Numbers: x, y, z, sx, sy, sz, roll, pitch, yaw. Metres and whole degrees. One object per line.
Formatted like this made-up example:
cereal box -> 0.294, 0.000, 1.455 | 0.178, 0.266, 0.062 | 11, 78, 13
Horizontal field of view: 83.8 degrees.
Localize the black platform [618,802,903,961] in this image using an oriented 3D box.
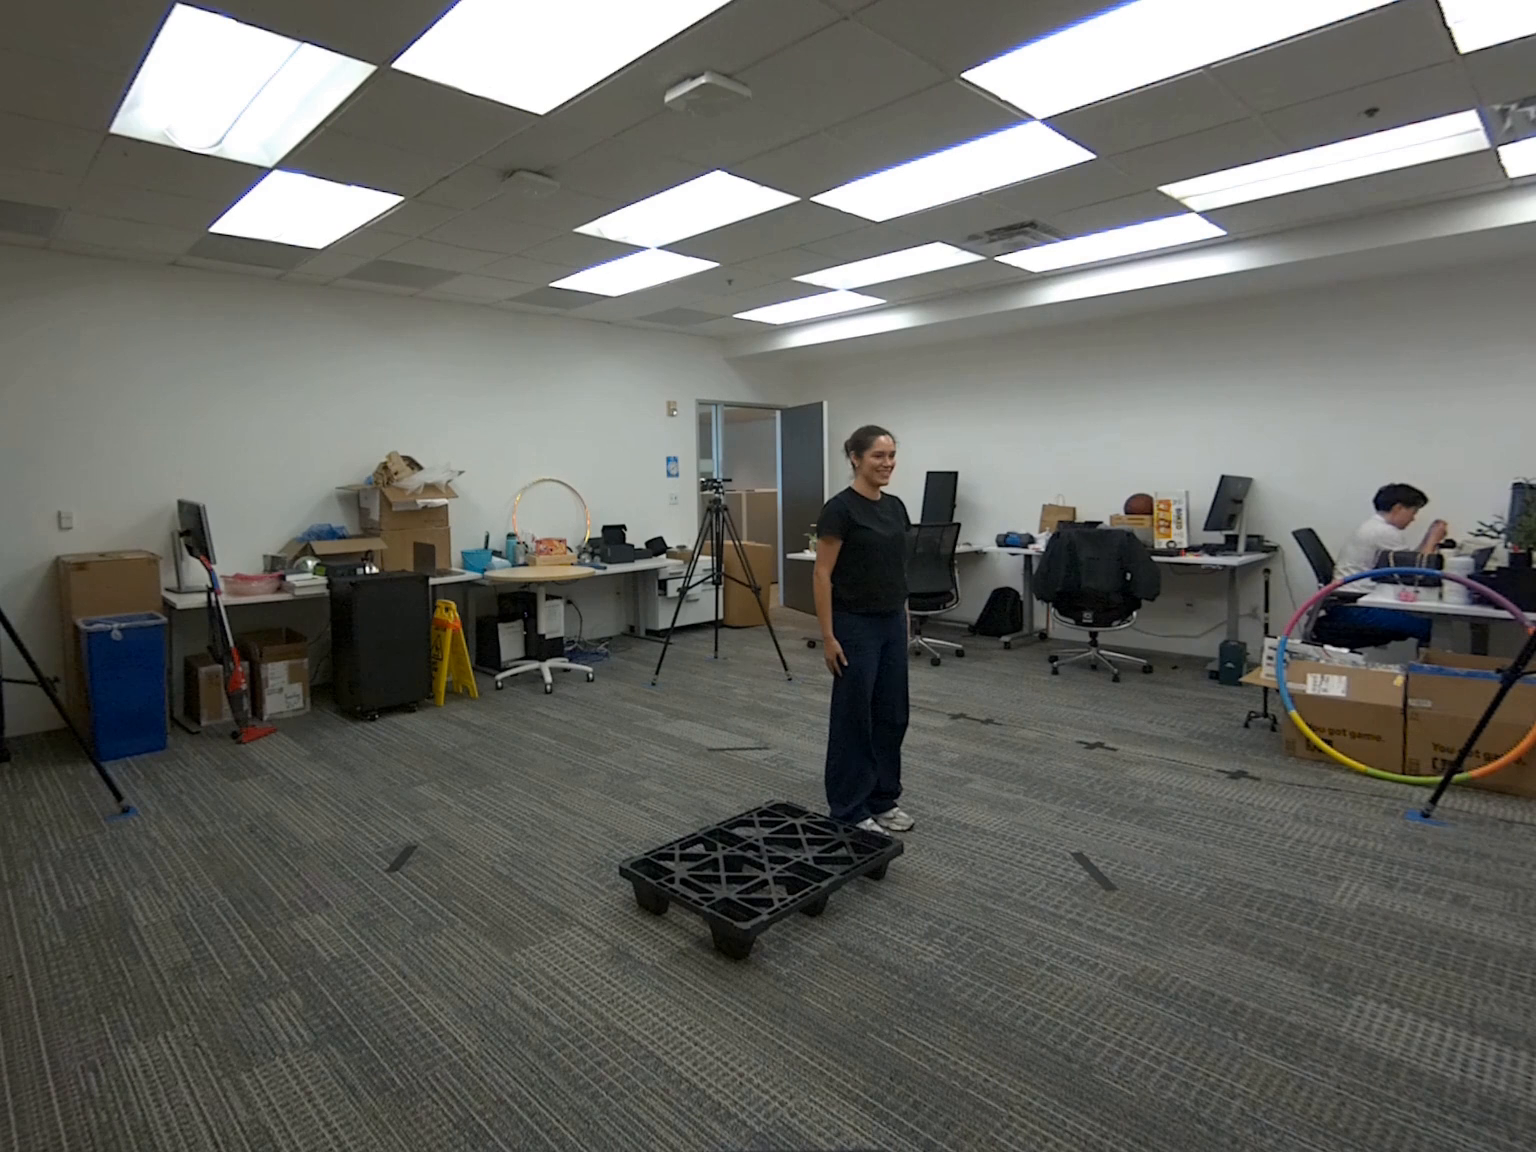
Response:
black platform -> -0.006, 1.004, 2.901 | 0.624, 0.142, 0.785 | 6, 10, 44
